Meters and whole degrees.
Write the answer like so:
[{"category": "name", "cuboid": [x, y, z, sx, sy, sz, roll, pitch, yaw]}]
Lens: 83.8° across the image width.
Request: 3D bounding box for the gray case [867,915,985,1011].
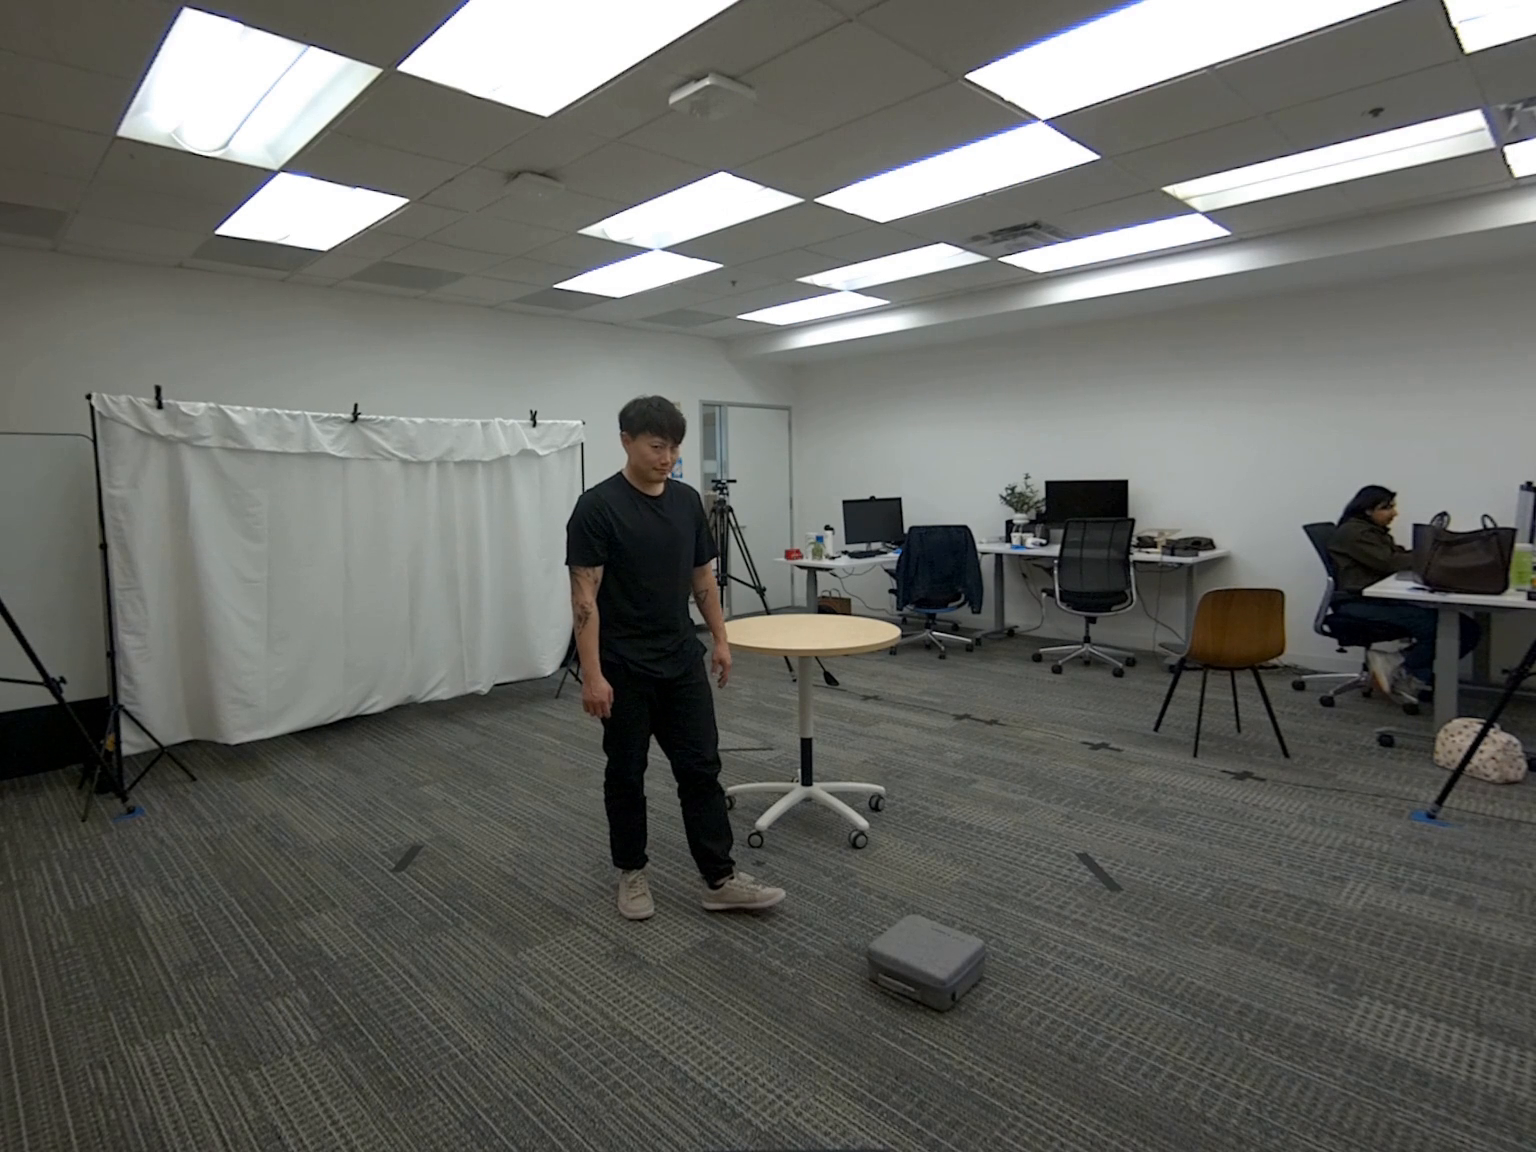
[{"category": "gray case", "cuboid": [0.448, 1.069, 2.372, 0.265, 0.104, 0.254, 5, 10, 41]}]
